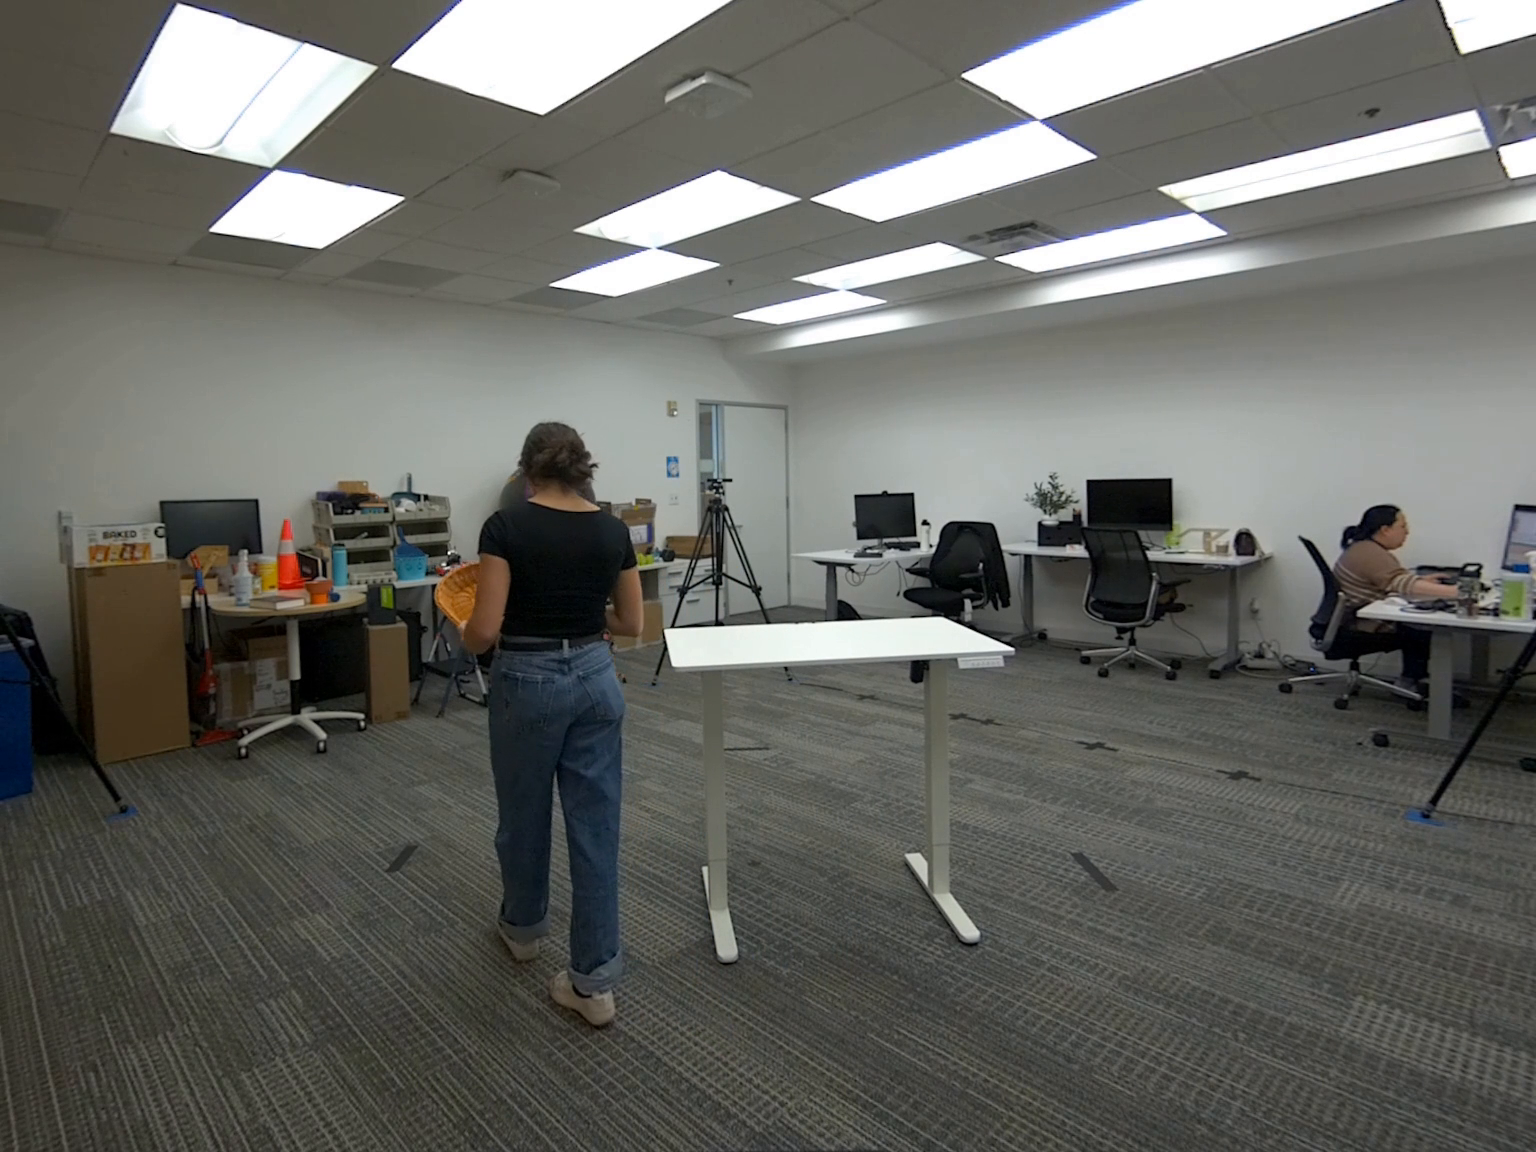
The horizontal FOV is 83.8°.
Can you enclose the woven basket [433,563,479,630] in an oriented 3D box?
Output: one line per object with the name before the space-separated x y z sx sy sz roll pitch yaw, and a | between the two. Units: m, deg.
woven basket | -0.831 0.093 2.513 0.249 0.071 0.364 -27 49 -27
